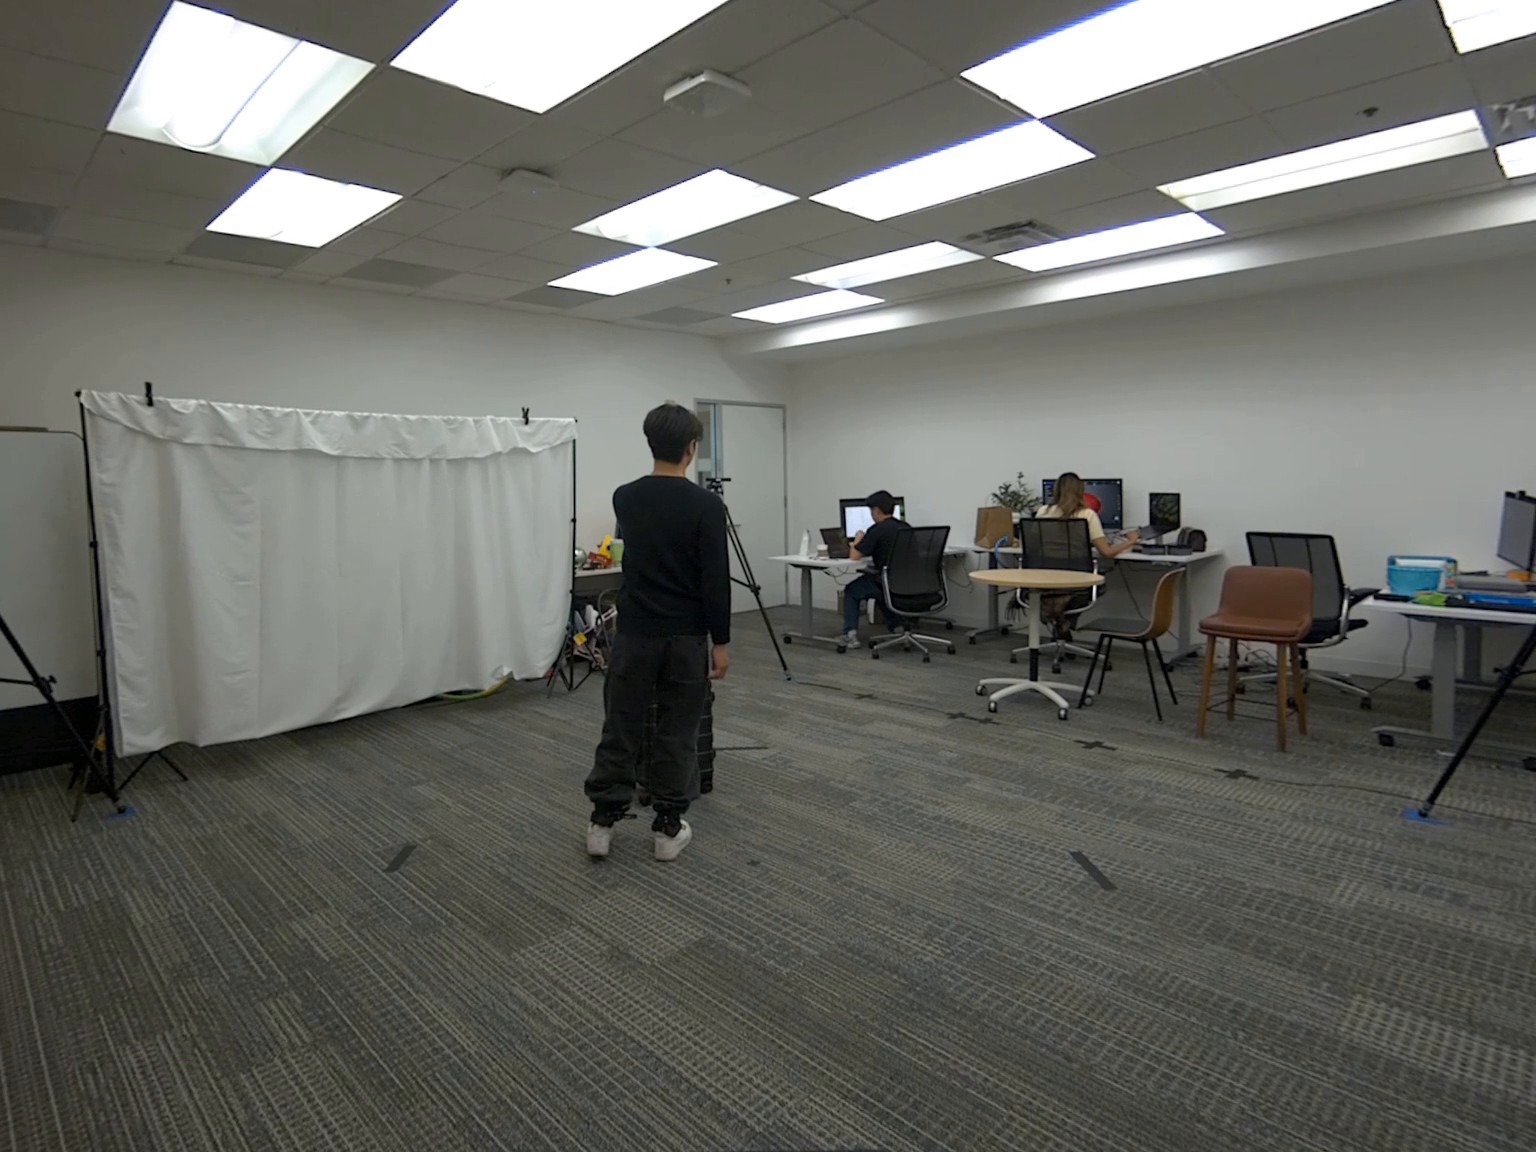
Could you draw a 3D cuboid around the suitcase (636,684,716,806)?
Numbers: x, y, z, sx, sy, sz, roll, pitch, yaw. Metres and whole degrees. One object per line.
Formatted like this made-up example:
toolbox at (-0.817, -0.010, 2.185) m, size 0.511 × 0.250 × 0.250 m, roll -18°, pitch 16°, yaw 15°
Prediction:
suitcase at (-0.449, 0.490, 3.849) m, size 0.376 × 0.979 × 0.262 m, roll -1°, pitch -1°, yaw -25°
